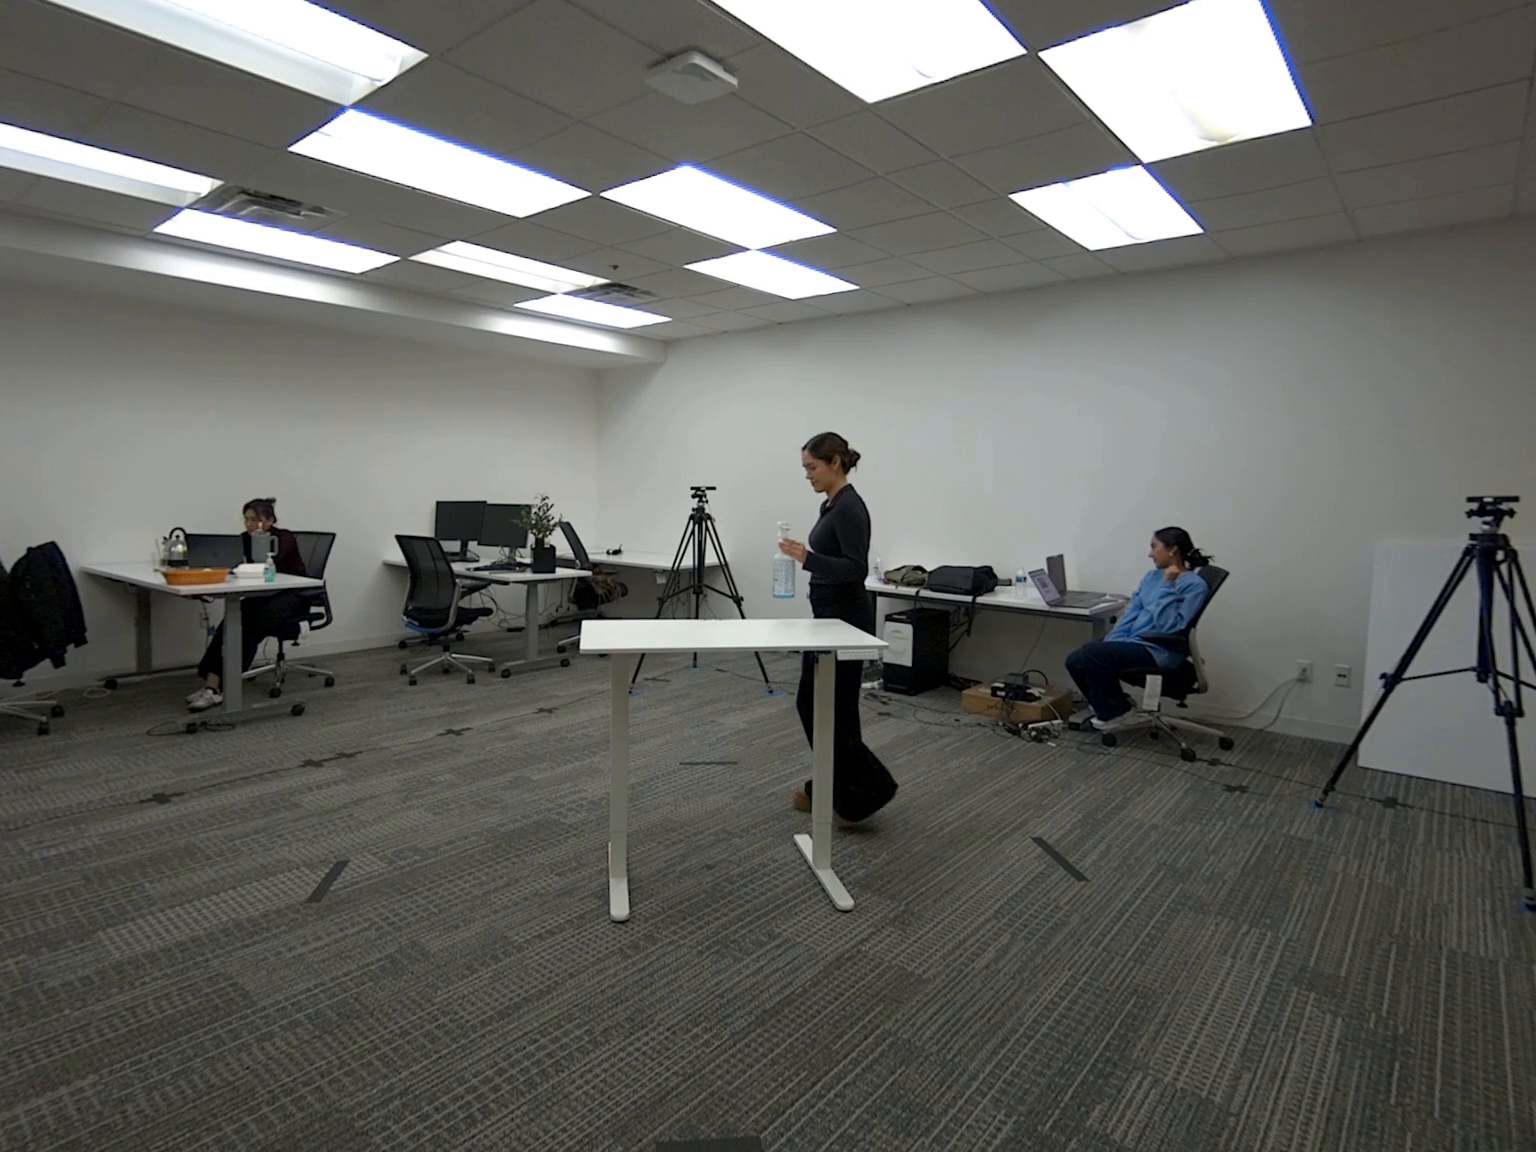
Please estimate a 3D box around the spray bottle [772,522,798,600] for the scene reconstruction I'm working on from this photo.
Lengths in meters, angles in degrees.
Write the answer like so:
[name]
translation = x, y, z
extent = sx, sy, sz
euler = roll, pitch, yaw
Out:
[spray bottle]
translation = 0.044, -0.064, 3.318
extent = 0.087, 0.296, 0.090
euler = -3, 6, -36
